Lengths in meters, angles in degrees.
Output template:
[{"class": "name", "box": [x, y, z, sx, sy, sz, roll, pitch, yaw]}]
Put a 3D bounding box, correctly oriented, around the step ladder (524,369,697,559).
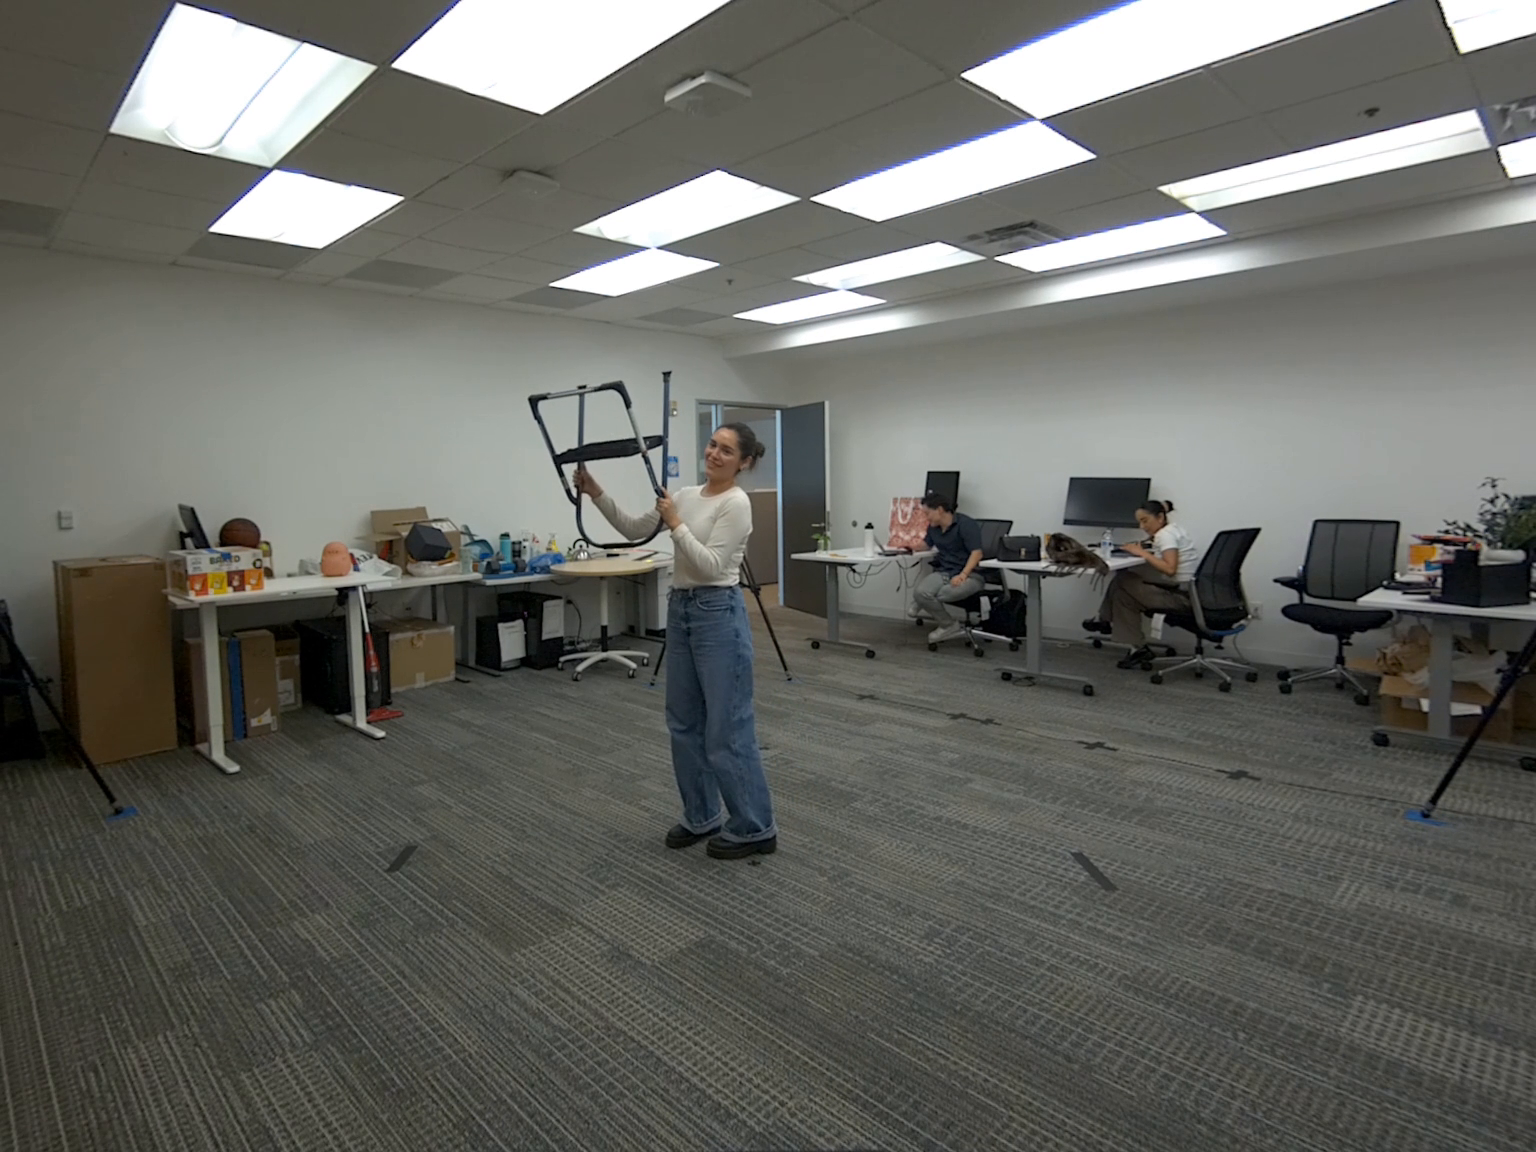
[{"class": "step ladder", "box": [-0.562, -0.415, 3.176, 0.441, 0.598, 0.346, -3, 14, 28]}]
